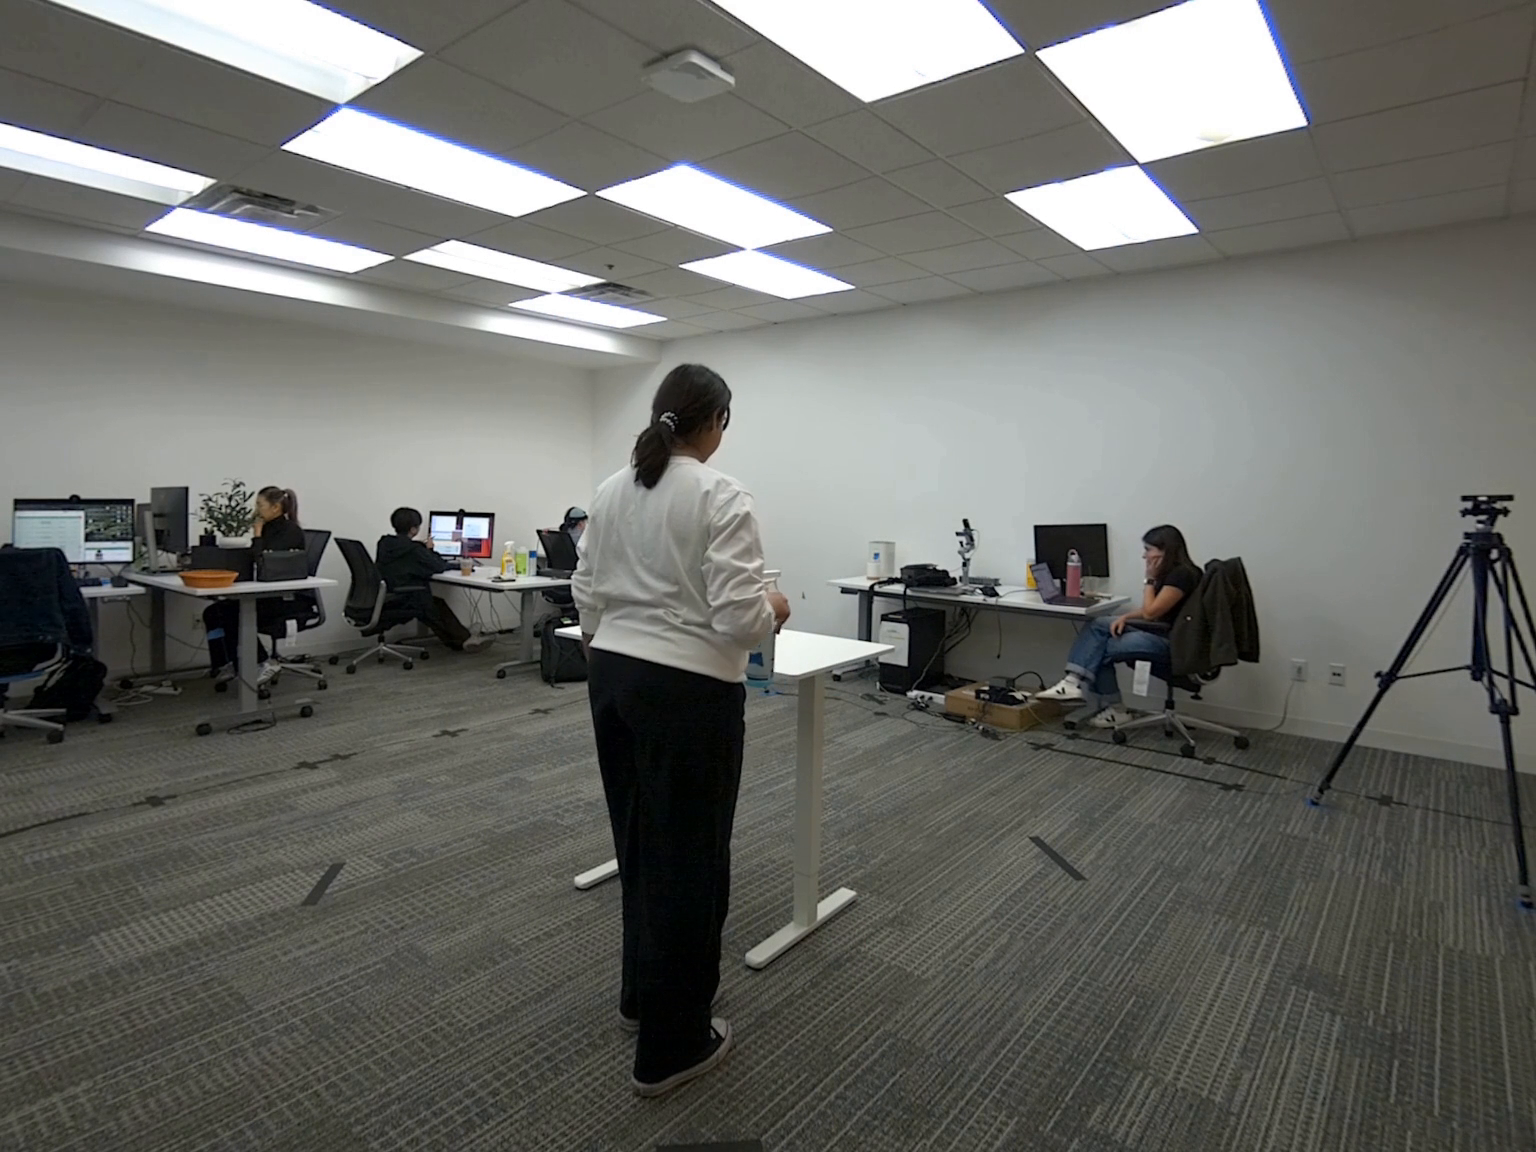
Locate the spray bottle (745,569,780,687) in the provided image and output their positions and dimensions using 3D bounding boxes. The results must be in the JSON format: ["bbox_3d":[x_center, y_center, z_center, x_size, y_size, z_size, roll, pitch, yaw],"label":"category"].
[{"bbox_3d":[-0.022,0.140,2.187,0.090,0.295,0.087,1,6,-1],"label":"spray bottle"}]
